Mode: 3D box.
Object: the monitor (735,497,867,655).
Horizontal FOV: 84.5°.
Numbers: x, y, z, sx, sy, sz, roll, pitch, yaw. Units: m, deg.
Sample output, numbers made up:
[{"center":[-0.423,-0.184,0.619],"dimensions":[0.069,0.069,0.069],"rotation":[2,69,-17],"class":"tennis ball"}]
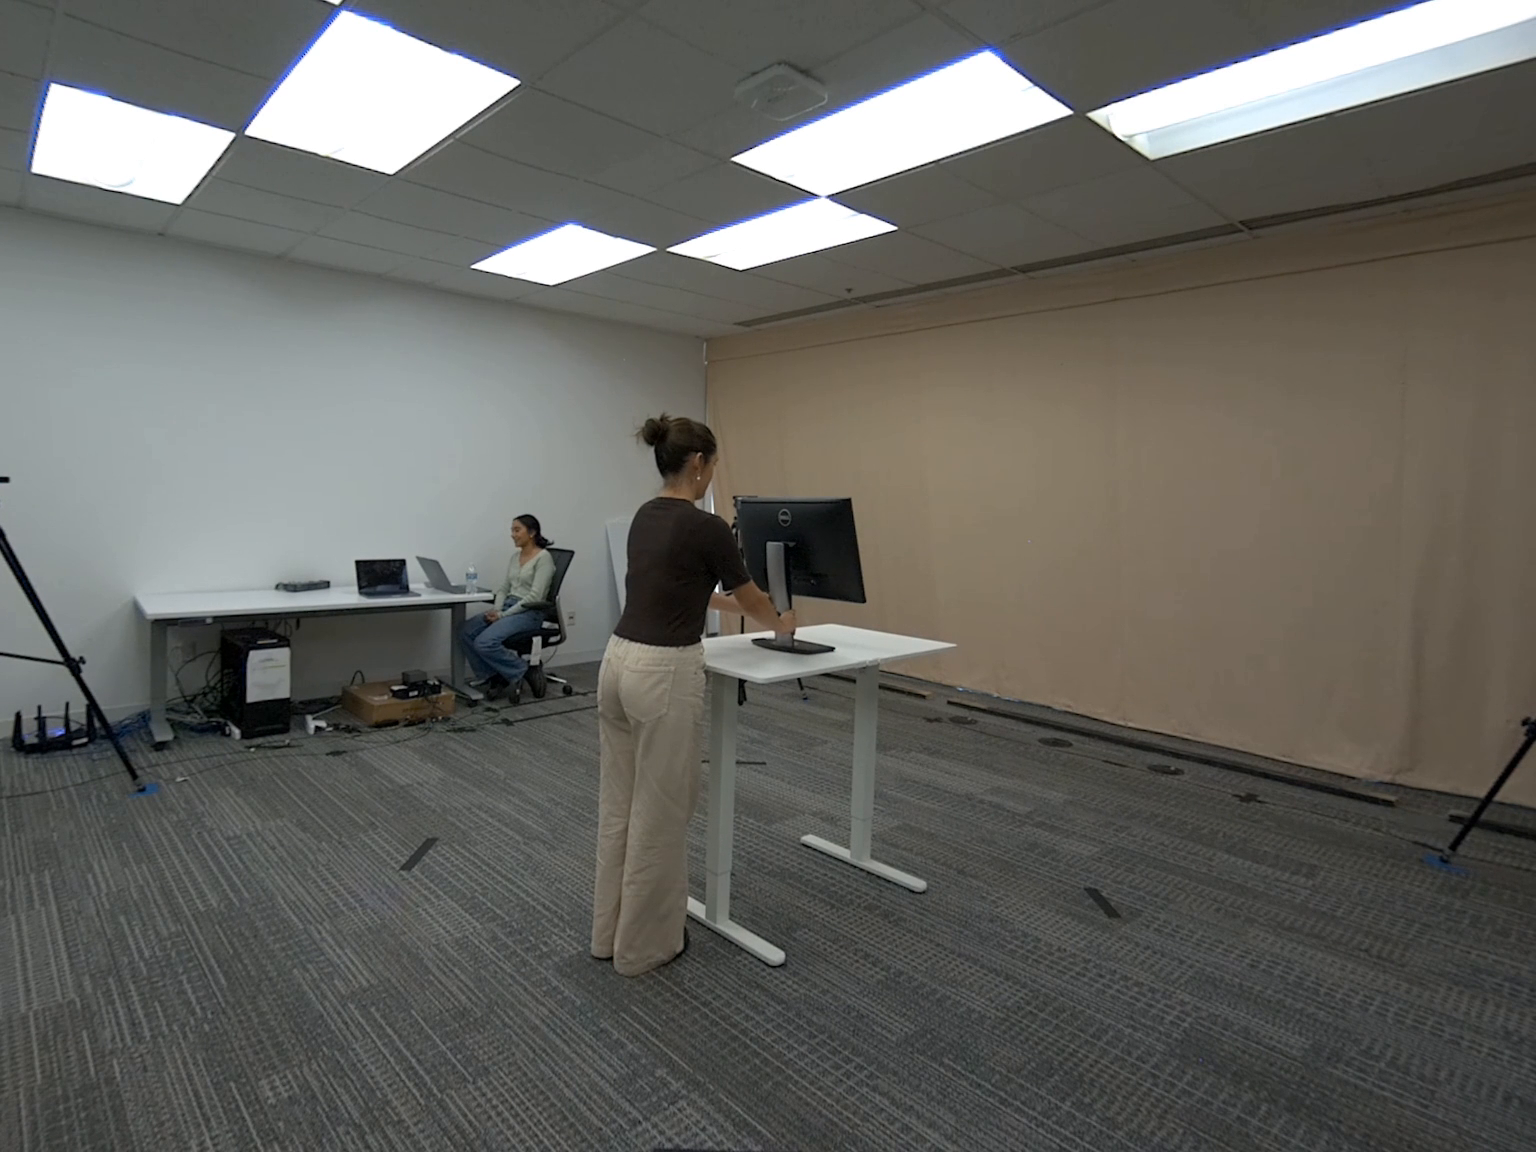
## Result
[{"center":[0.073,-0.008,2.866],"dimensions":[0.543,0.516,0.170],"rotation":[4,1,45],"class":"monitor"}]
